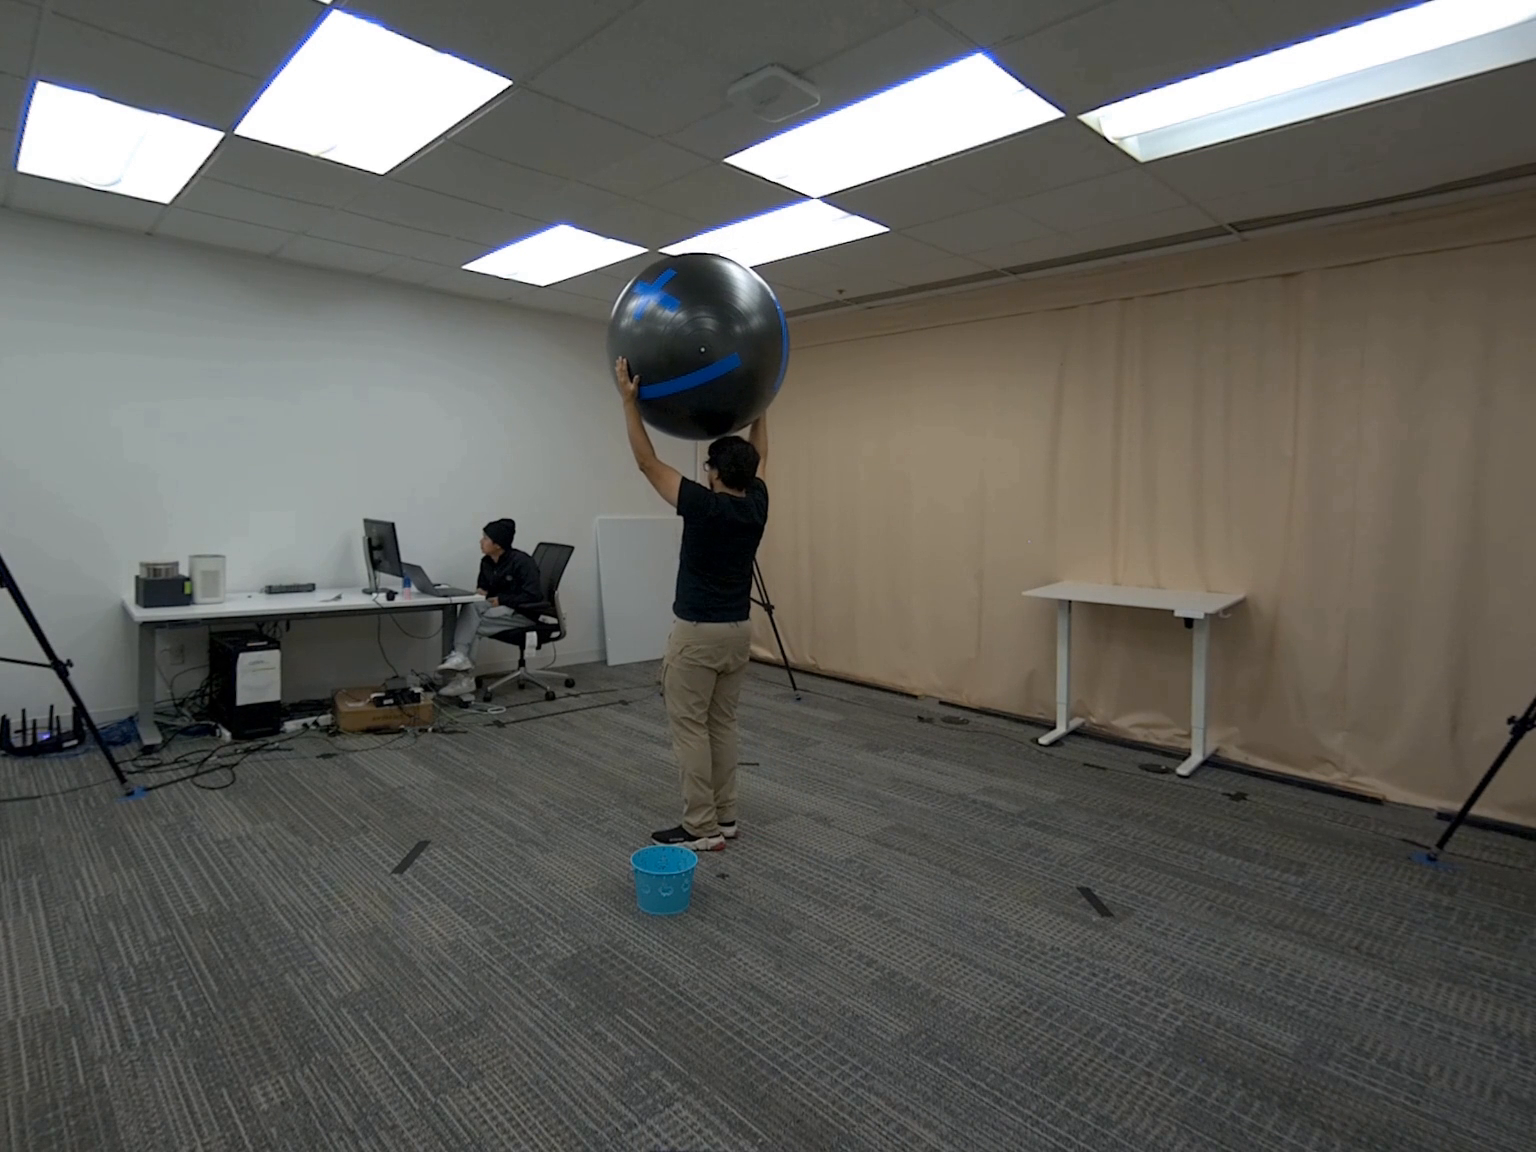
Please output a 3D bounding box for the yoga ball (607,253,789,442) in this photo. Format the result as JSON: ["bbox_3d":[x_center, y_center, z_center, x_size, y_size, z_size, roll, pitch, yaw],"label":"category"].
[{"bbox_3d":[-0.292,-0.943,3.494,0.757,0.756,0.761,1,4,-1],"label":"yoga ball"}]
